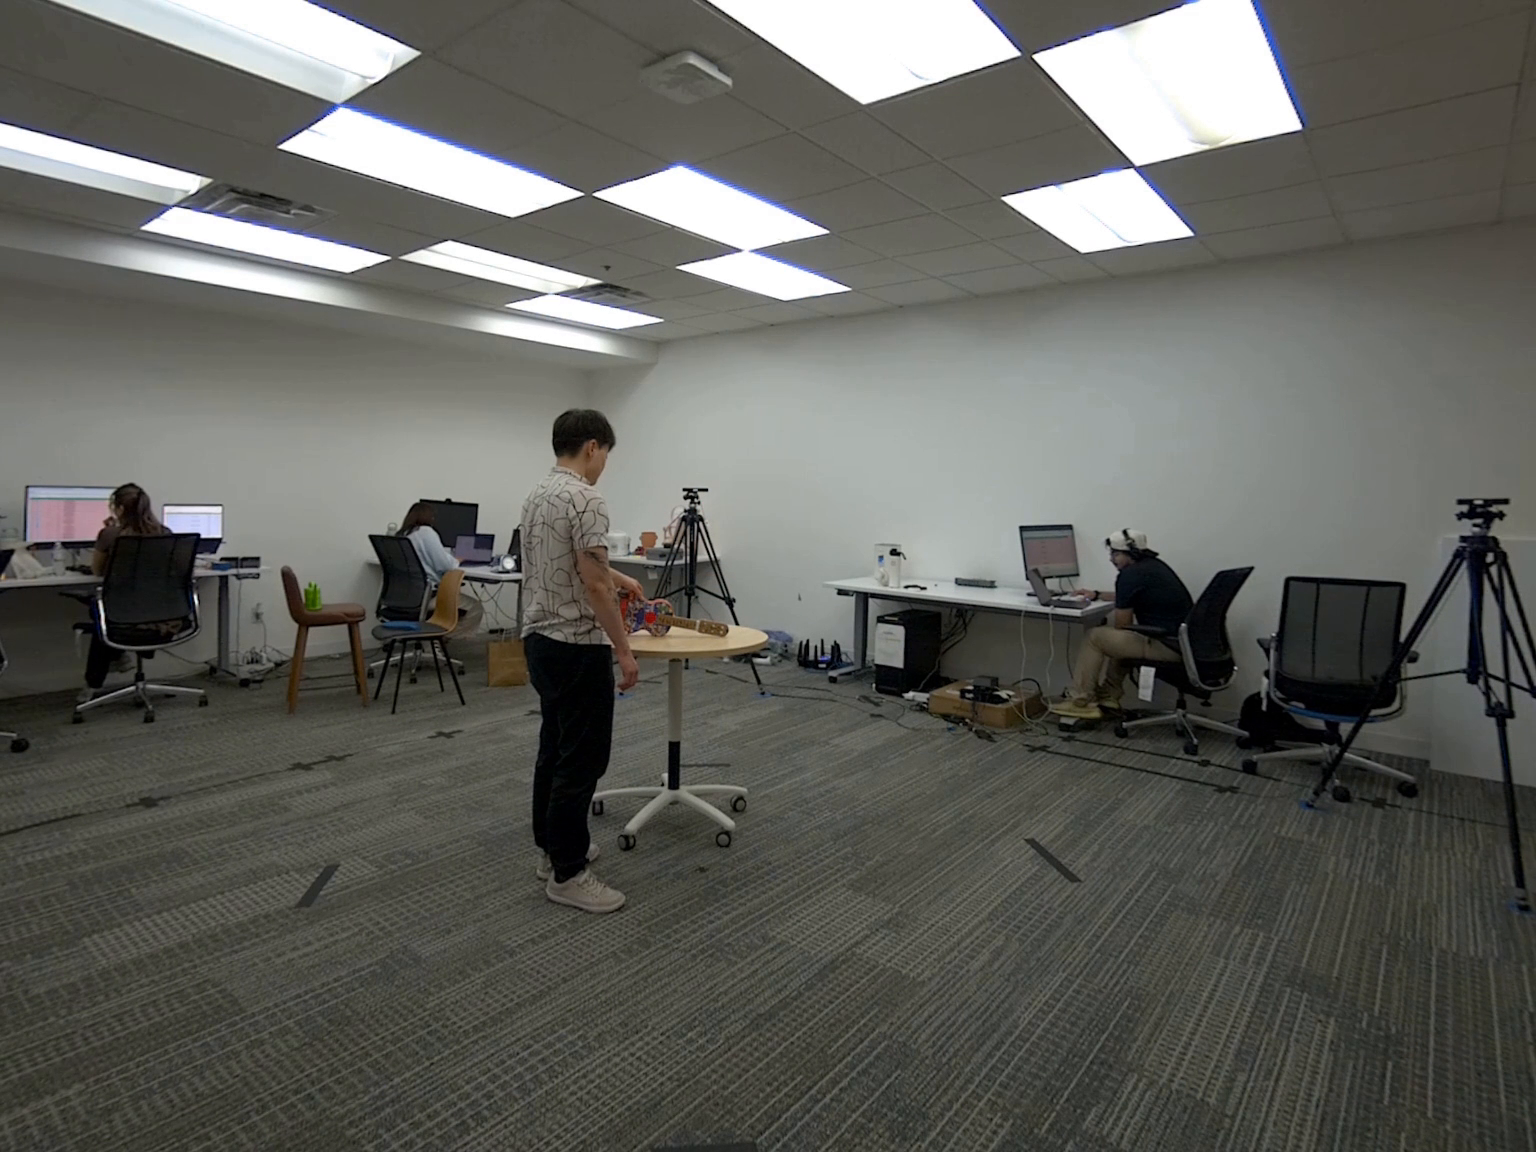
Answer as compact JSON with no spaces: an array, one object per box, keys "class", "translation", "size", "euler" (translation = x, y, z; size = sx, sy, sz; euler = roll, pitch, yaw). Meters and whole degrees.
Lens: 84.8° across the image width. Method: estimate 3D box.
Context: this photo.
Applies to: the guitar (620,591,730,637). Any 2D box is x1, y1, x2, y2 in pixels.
[{"class":"guitar","translation":[-0.437,0.203,3.500],"size":[0.495,0.193,0.071],"euler":[19,2,-4]}]
